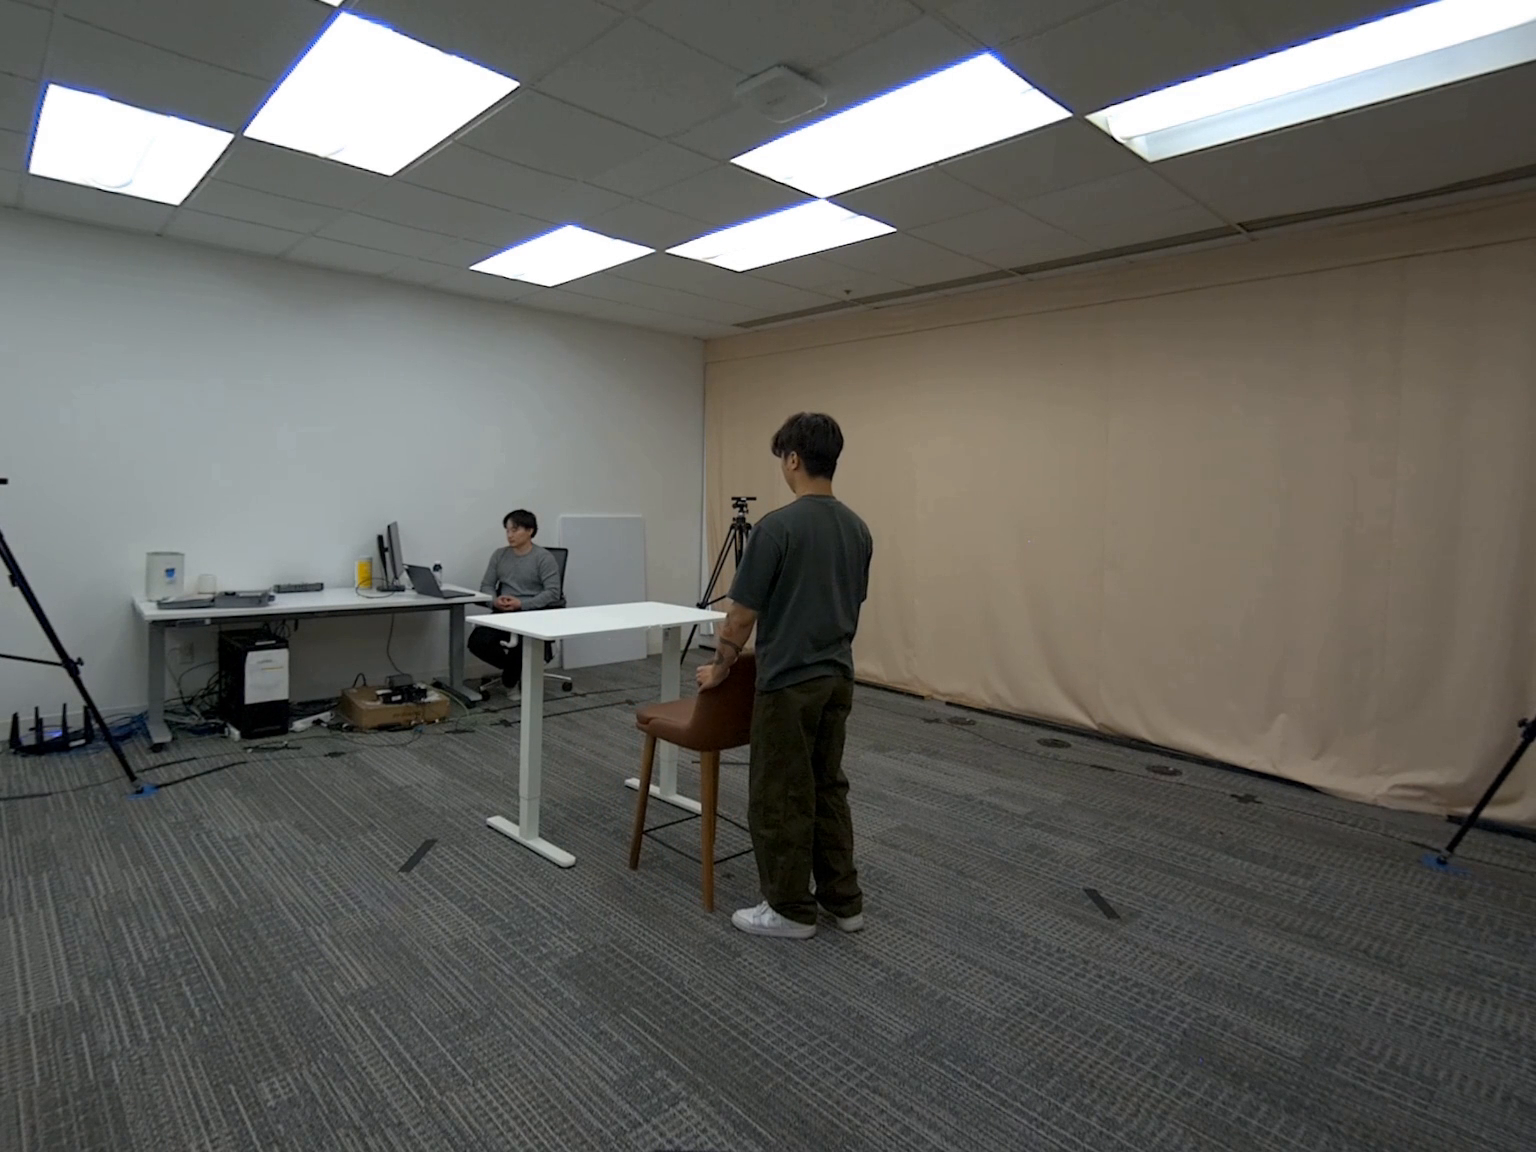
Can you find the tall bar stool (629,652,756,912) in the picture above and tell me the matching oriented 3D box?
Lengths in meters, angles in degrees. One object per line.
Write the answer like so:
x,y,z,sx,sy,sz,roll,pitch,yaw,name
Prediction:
-0.208,0.669,3.080,0.446,0.887,0.480,-2,7,-42,tall bar stool
